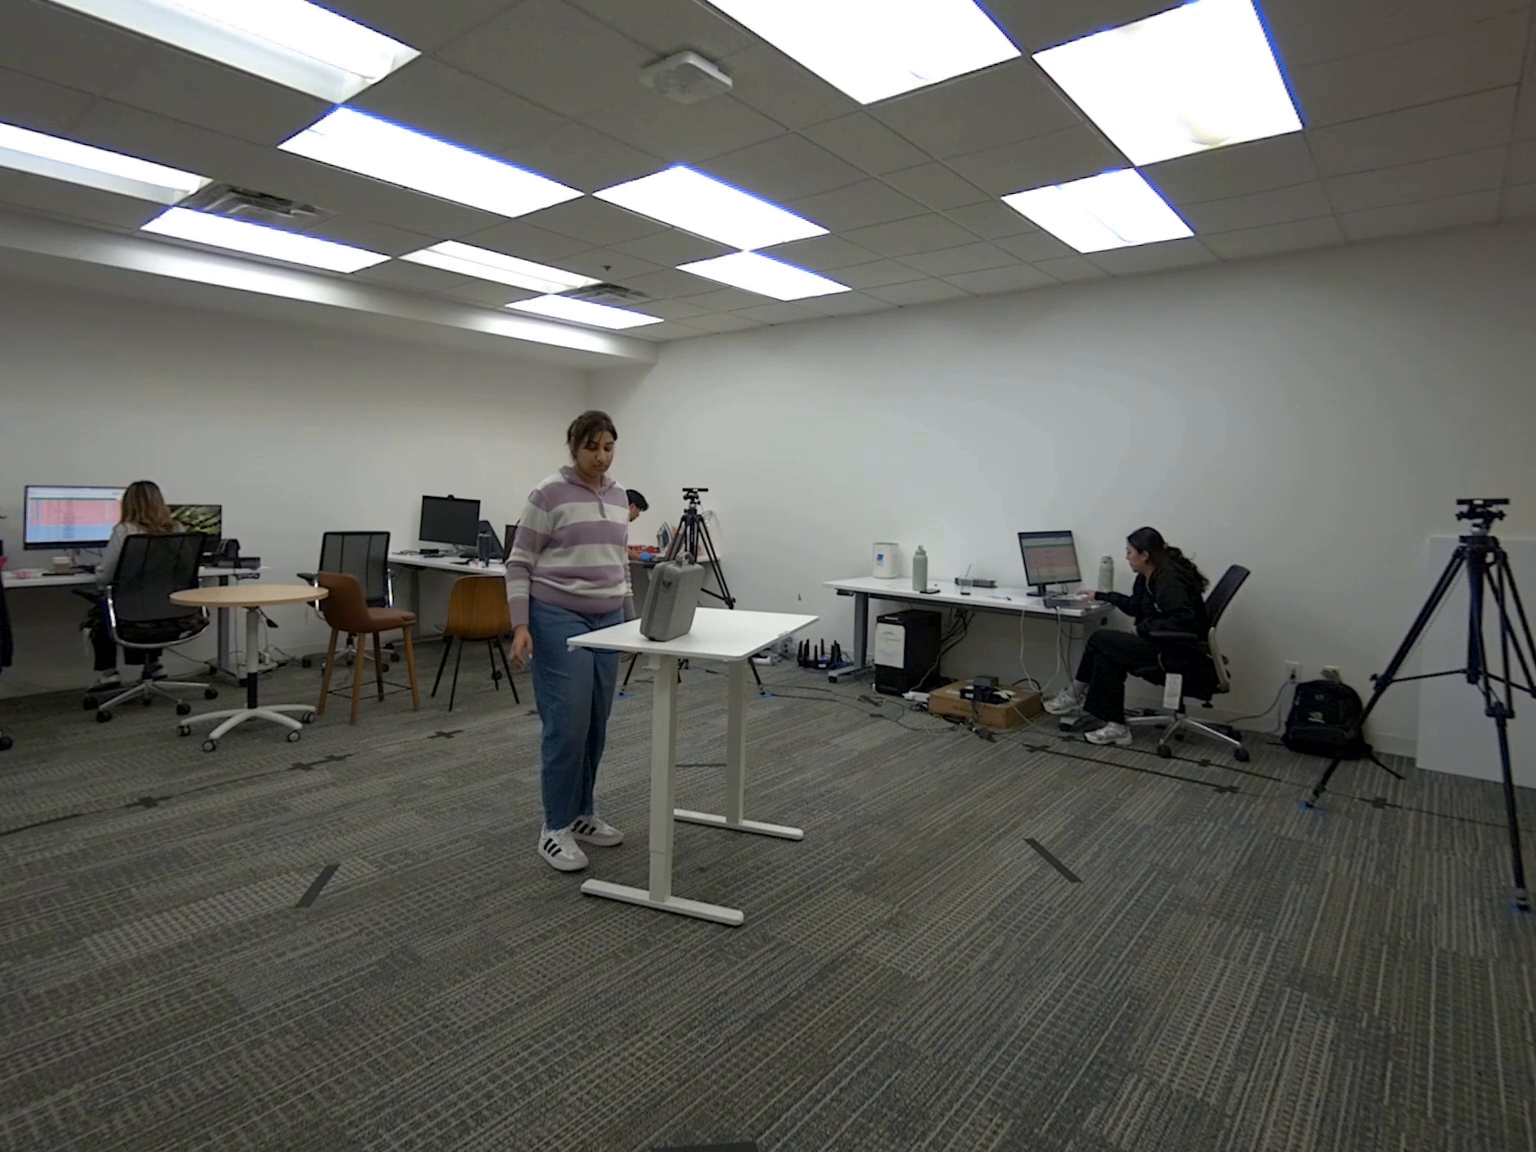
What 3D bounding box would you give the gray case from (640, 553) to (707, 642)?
[{"bbox_3d":[-0.330,0.076,2.876,0.106,0.259,0.253,14,8,15],"label":"gray case"}]
